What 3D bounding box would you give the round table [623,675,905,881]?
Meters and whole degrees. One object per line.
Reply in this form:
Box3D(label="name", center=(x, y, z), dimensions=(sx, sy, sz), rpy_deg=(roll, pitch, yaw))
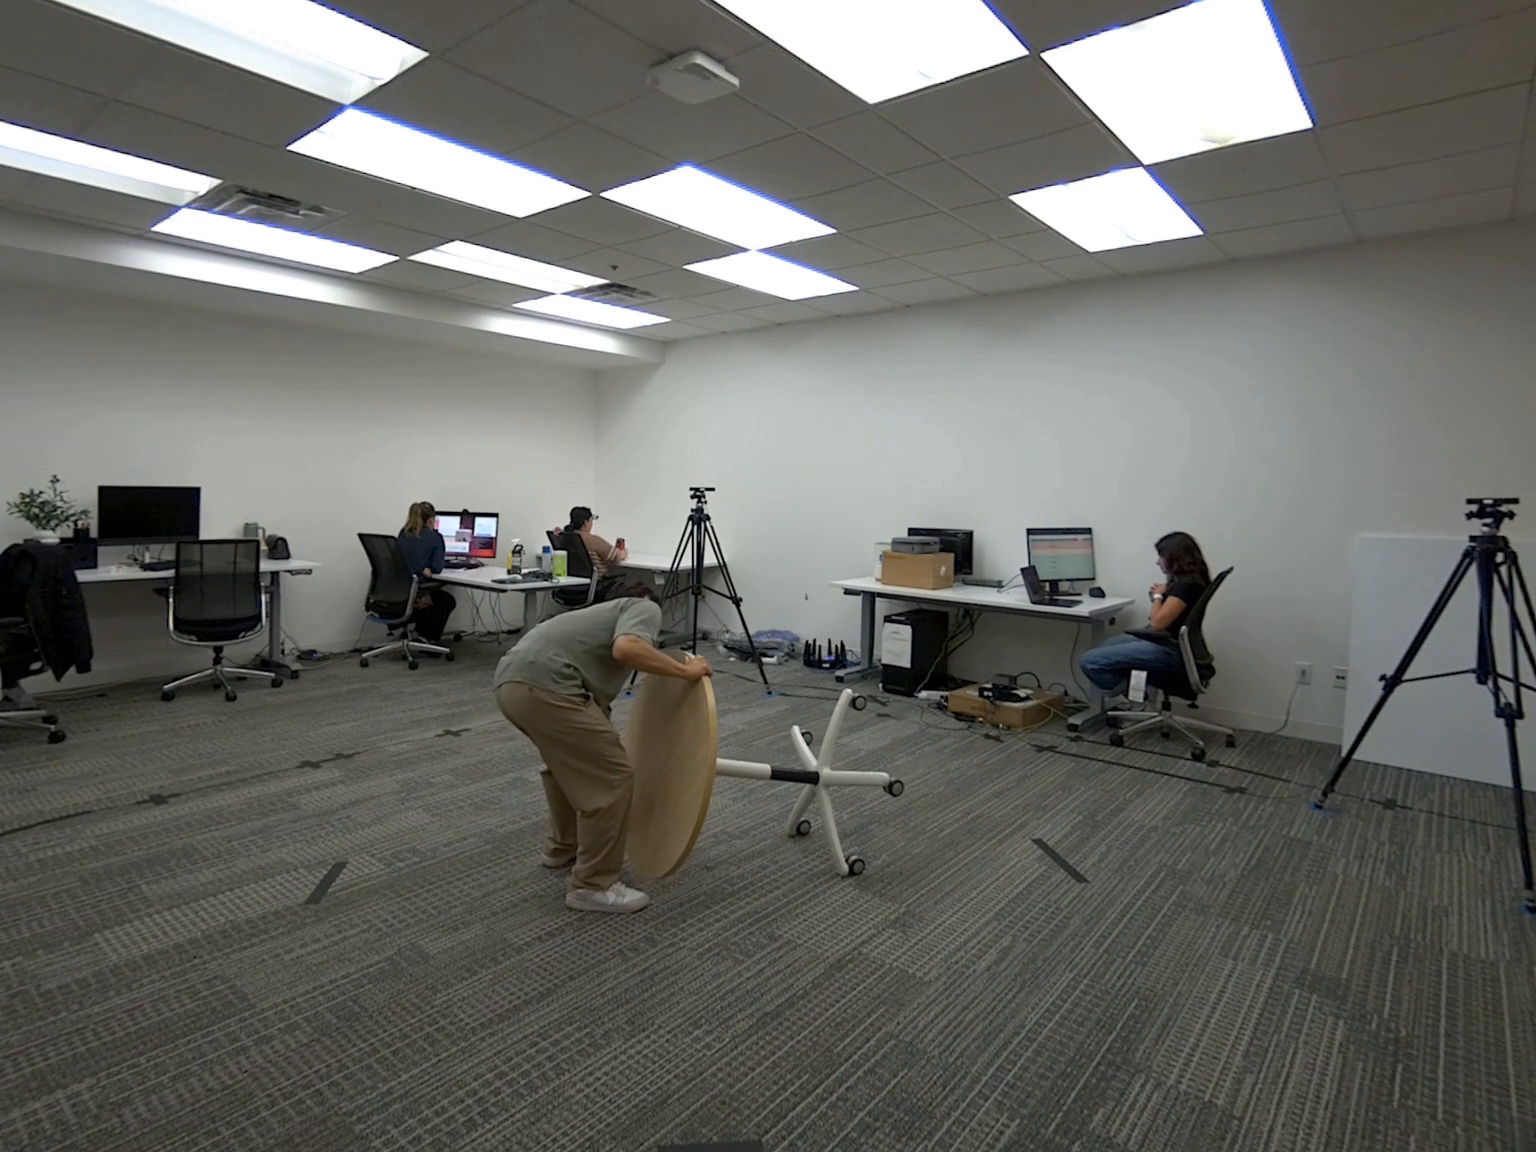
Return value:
Box3D(label="round table", center=(-0.038, 0.712, 3.123), dimensions=(0.764, 0.786, 0.807), rpy_deg=(12, -1, -26))
